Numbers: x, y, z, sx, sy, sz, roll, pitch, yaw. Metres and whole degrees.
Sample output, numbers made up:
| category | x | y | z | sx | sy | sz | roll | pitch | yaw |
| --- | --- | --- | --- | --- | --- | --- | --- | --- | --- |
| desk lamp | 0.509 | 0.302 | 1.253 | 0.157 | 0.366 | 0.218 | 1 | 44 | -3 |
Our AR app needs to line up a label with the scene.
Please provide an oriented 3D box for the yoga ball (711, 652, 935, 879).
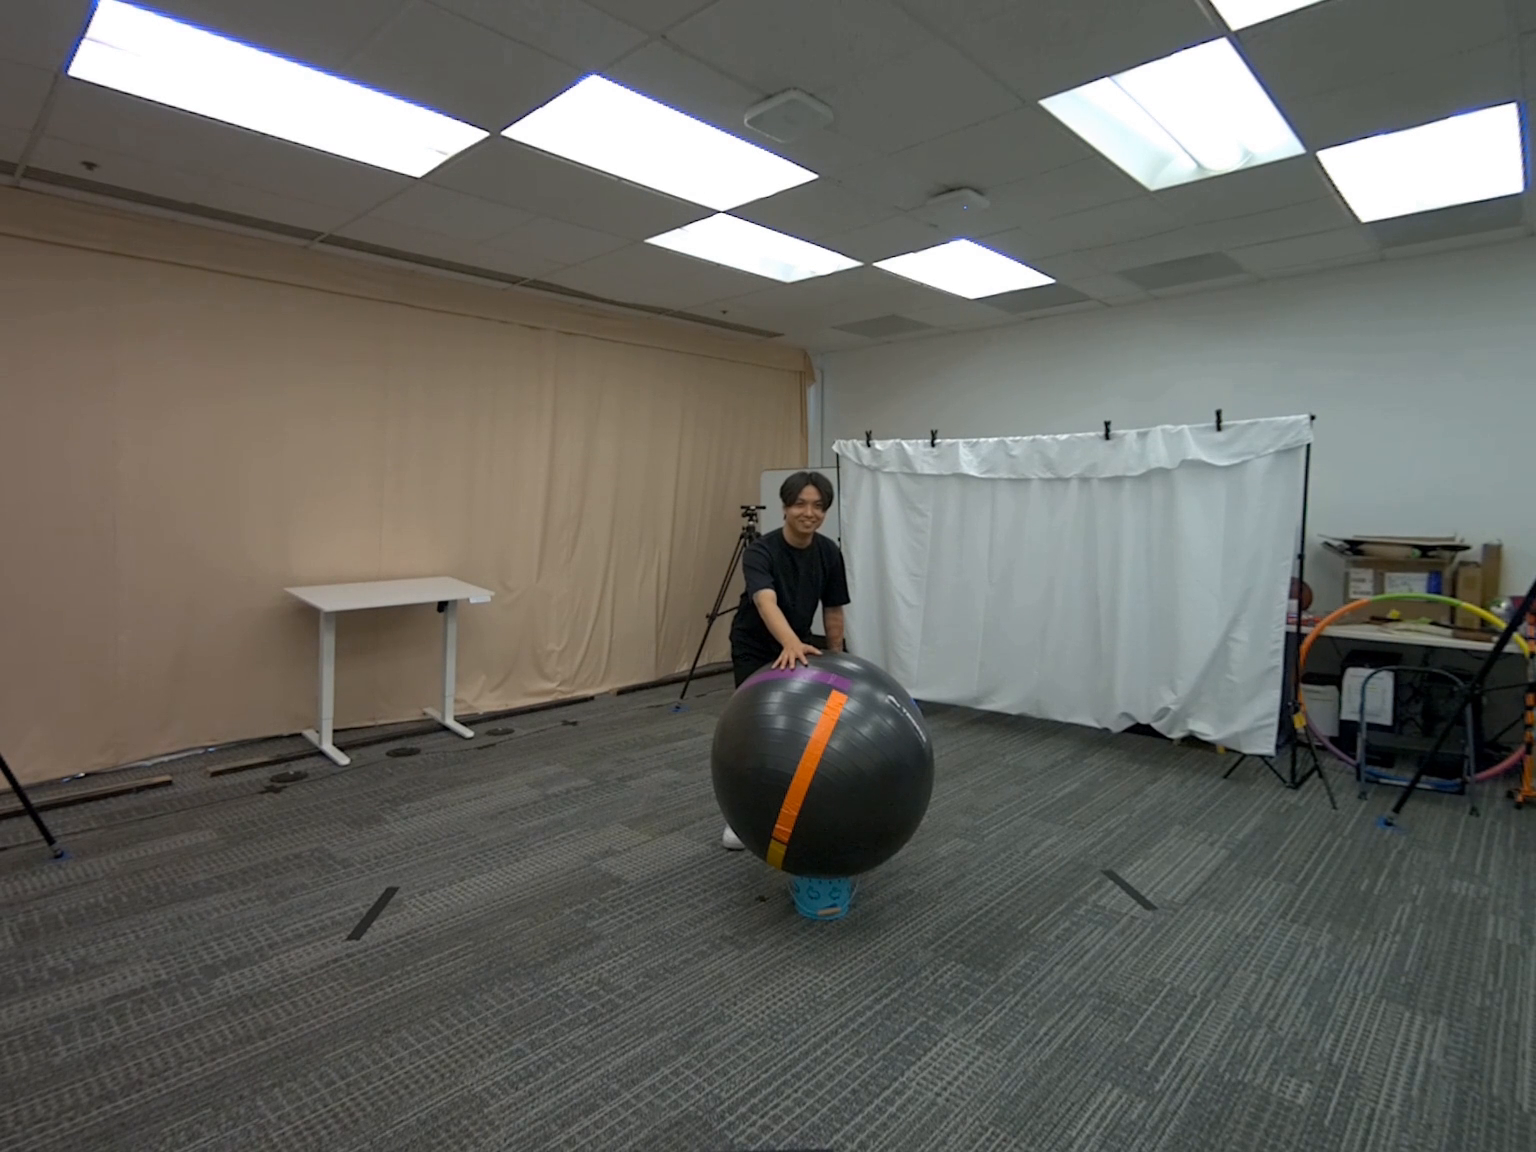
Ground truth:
| category | x | y | z | sx | sy | sz | roll | pitch | yaw |
| --- | --- | --- | --- | --- | --- | --- | --- | --- | --- |
| yoga ball | 0.189 | 0.642 | 2.888 | 0.757 | 0.756 | 0.760 | 0 | 4 | -2 |
